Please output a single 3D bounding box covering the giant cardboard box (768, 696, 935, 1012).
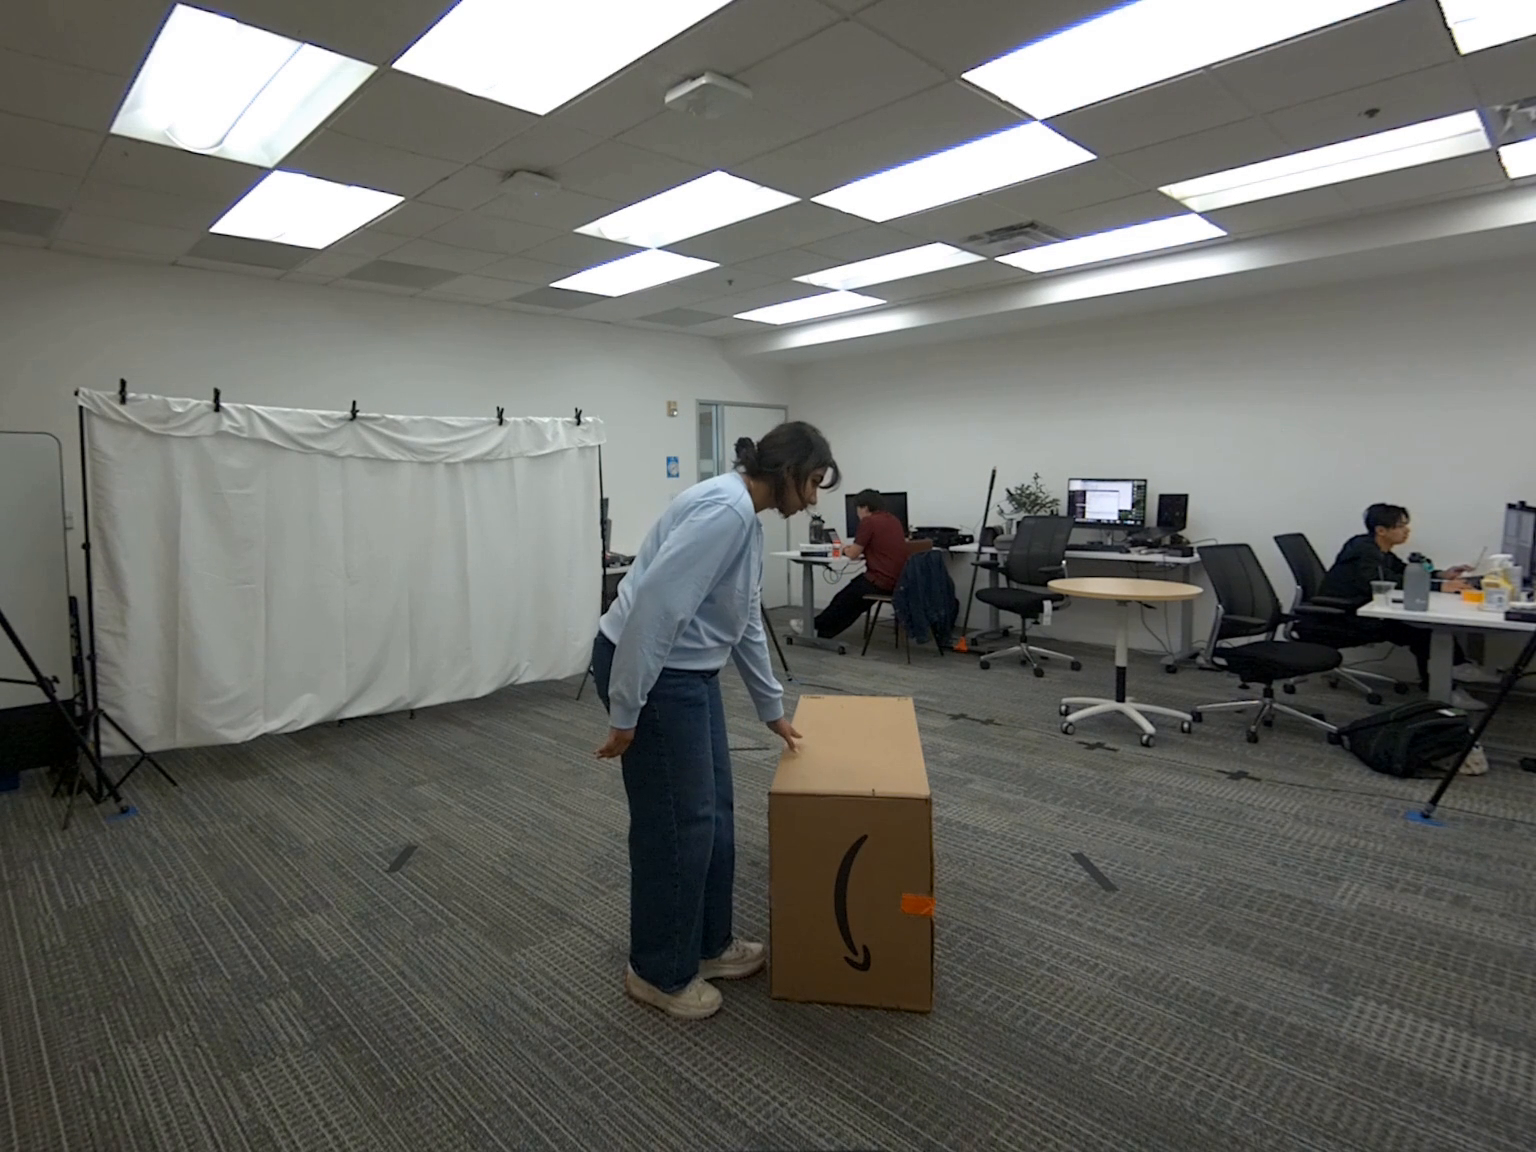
[{"bbox_3d":[0.280,0.788,2.738,0.430,0.575,1.021,0,5,8],"label":"giant cardboard box"}]
